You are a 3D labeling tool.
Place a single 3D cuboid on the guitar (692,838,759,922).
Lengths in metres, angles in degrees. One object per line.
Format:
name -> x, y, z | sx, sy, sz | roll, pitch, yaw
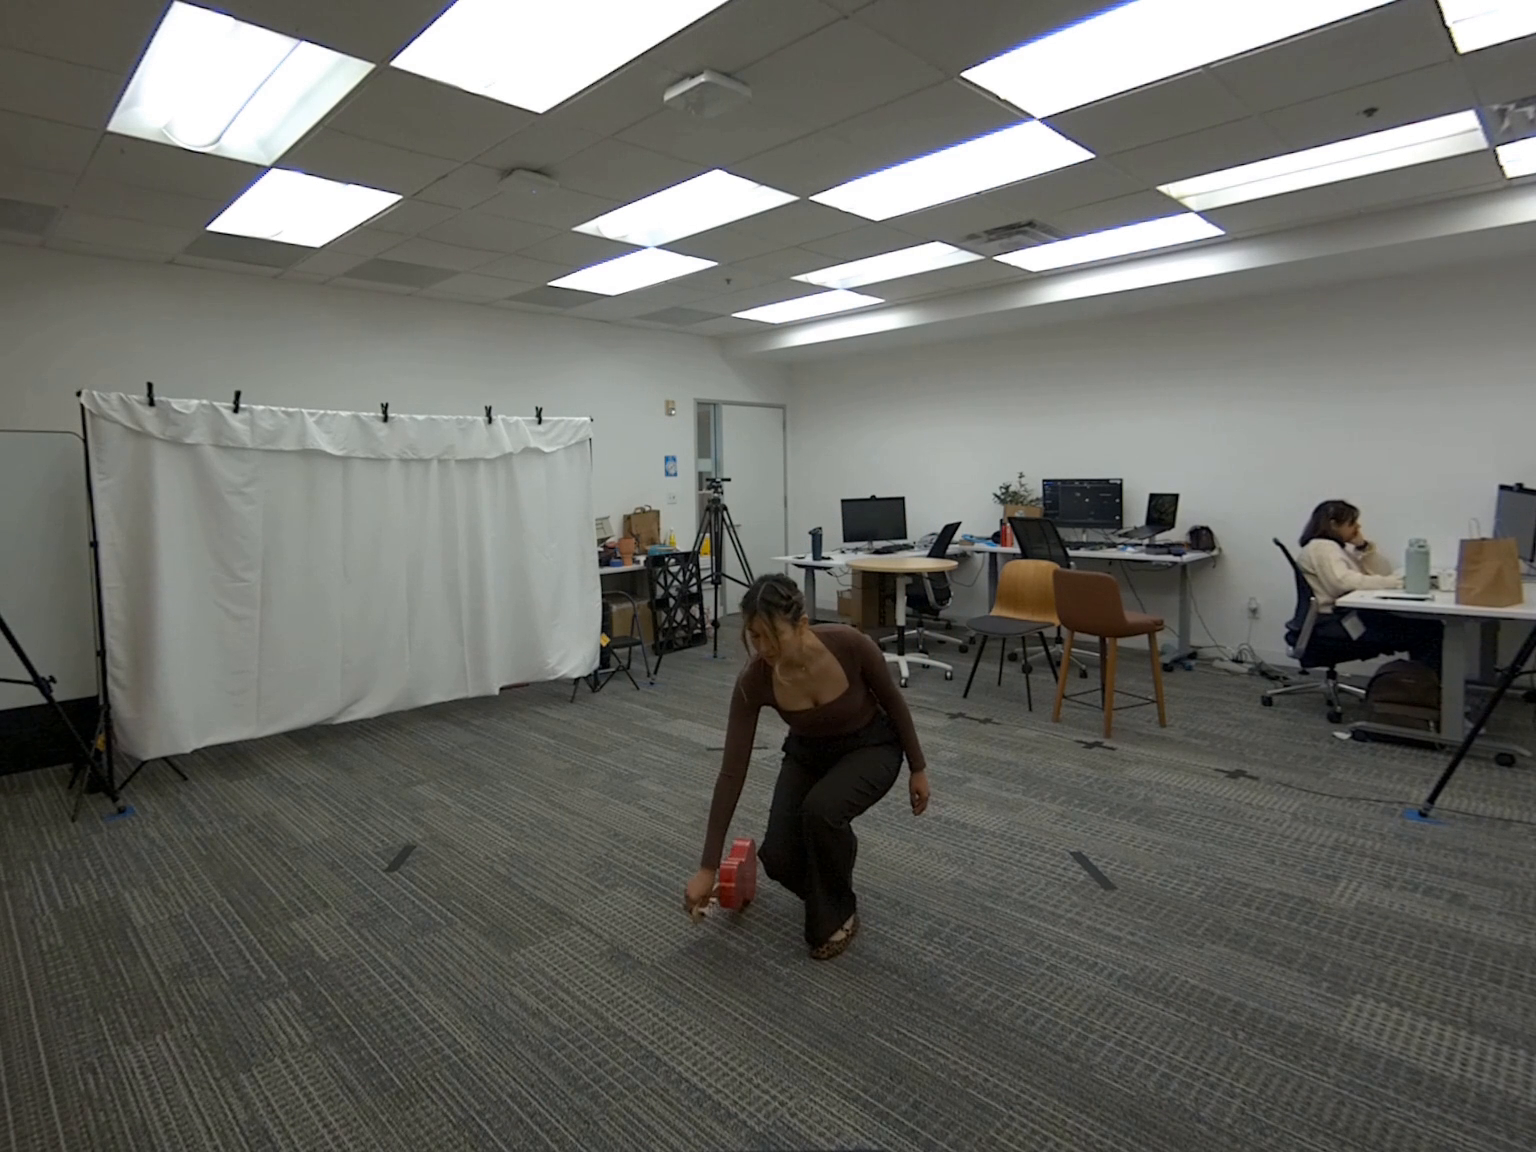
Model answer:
guitar -> -0.129, 0.987, 2.678 | 0.072, 0.192, 0.492 | -1, 5, 16
